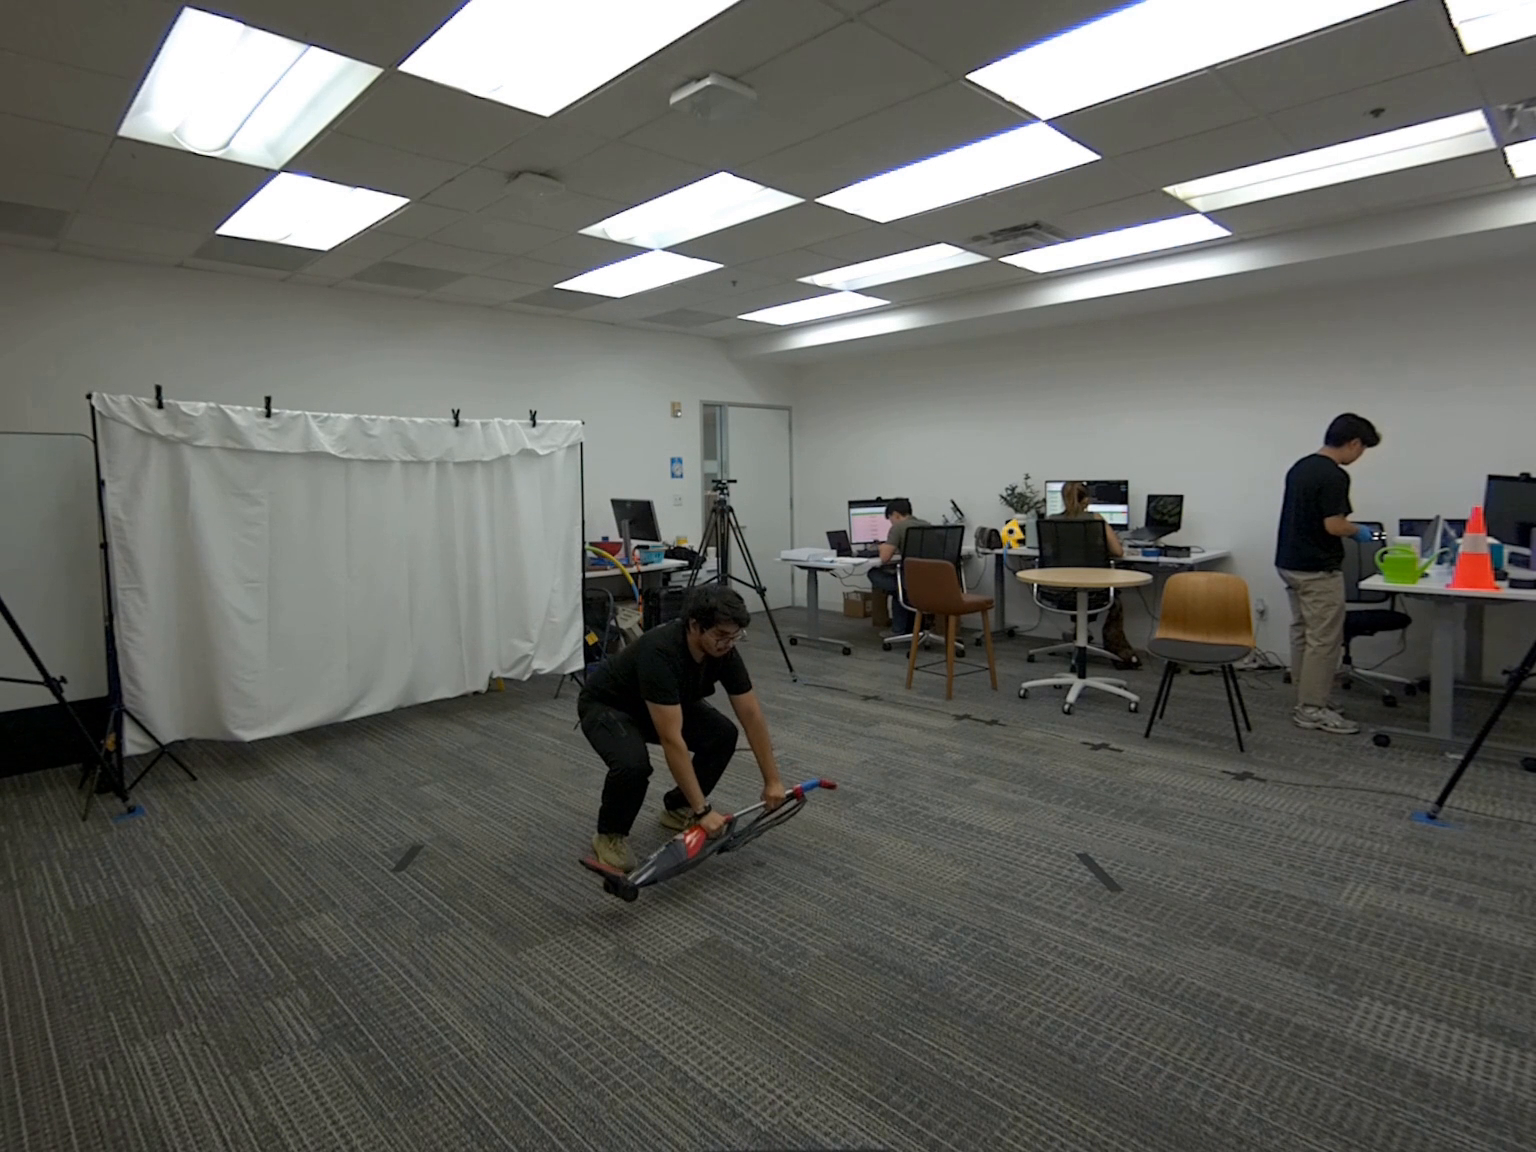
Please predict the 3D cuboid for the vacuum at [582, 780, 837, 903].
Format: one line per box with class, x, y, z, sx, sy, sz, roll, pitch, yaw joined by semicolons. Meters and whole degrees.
vacuum;-0.103;0.892;3.035;1.024;0.144;0.258;-9;0;-40
